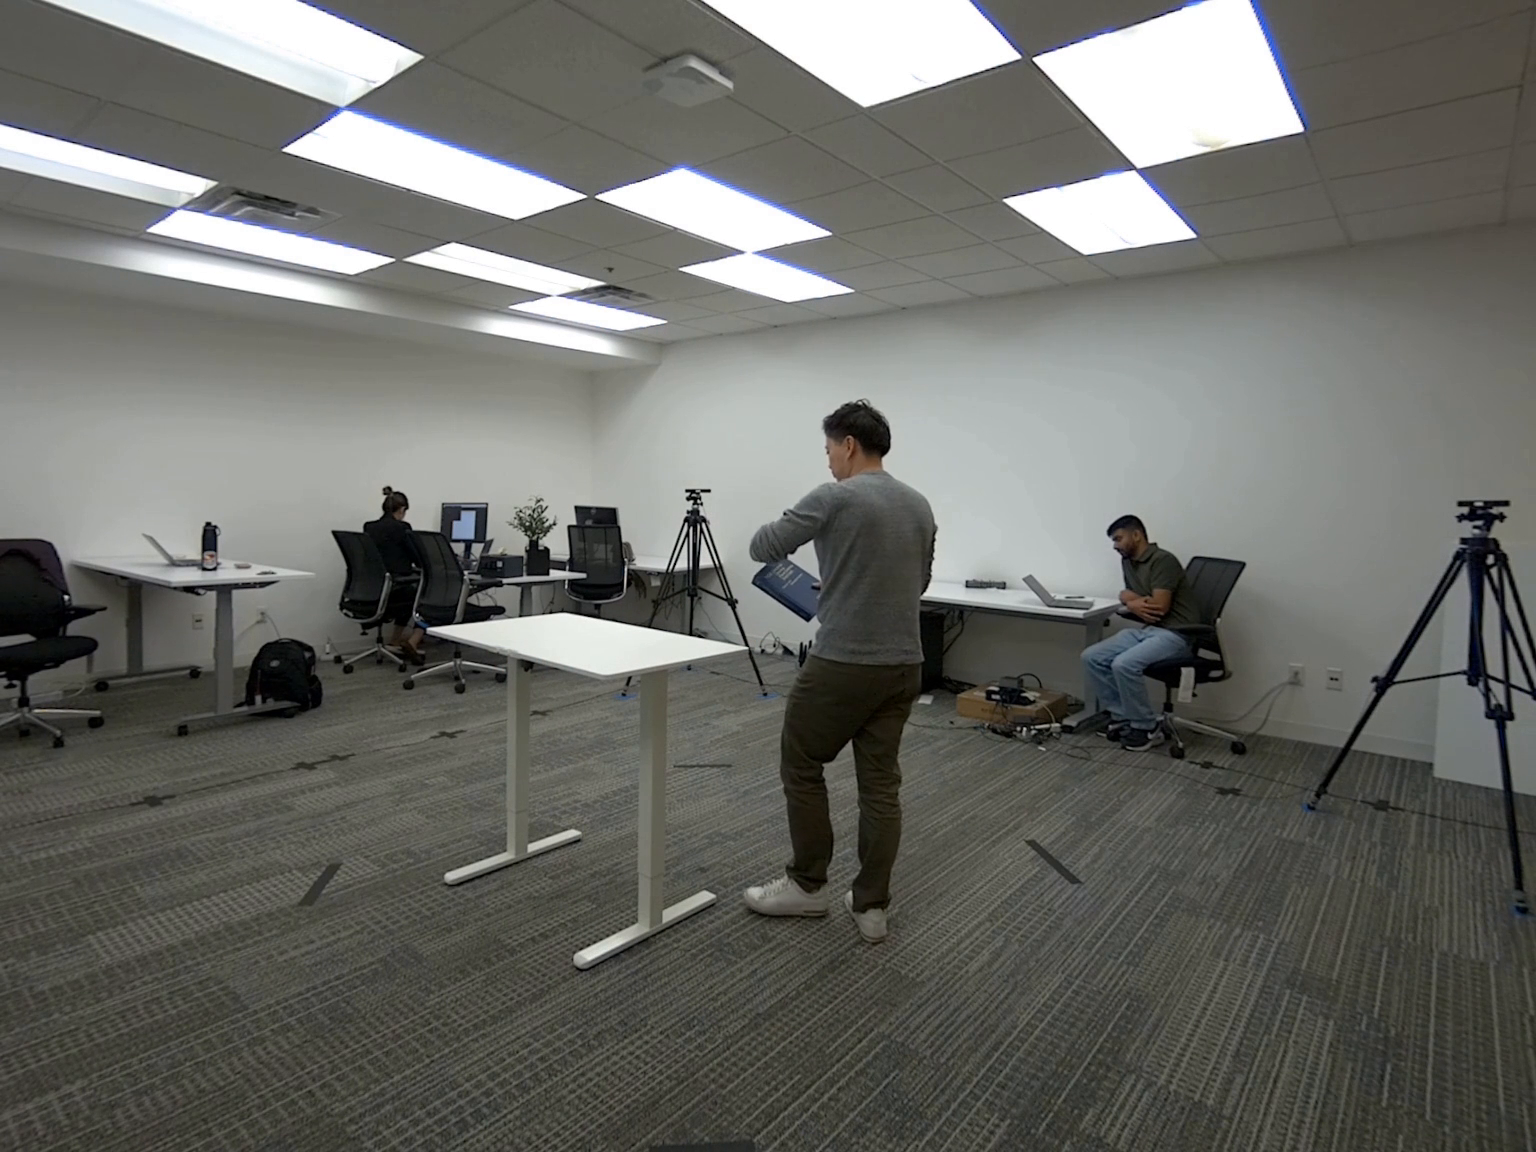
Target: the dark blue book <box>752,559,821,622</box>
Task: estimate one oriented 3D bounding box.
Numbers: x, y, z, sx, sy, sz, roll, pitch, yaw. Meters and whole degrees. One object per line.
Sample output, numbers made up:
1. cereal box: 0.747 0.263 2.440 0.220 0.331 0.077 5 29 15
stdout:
1. dark blue book: 0.078 0.034 2.976 0.251 0.044 0.162 33 45 18
